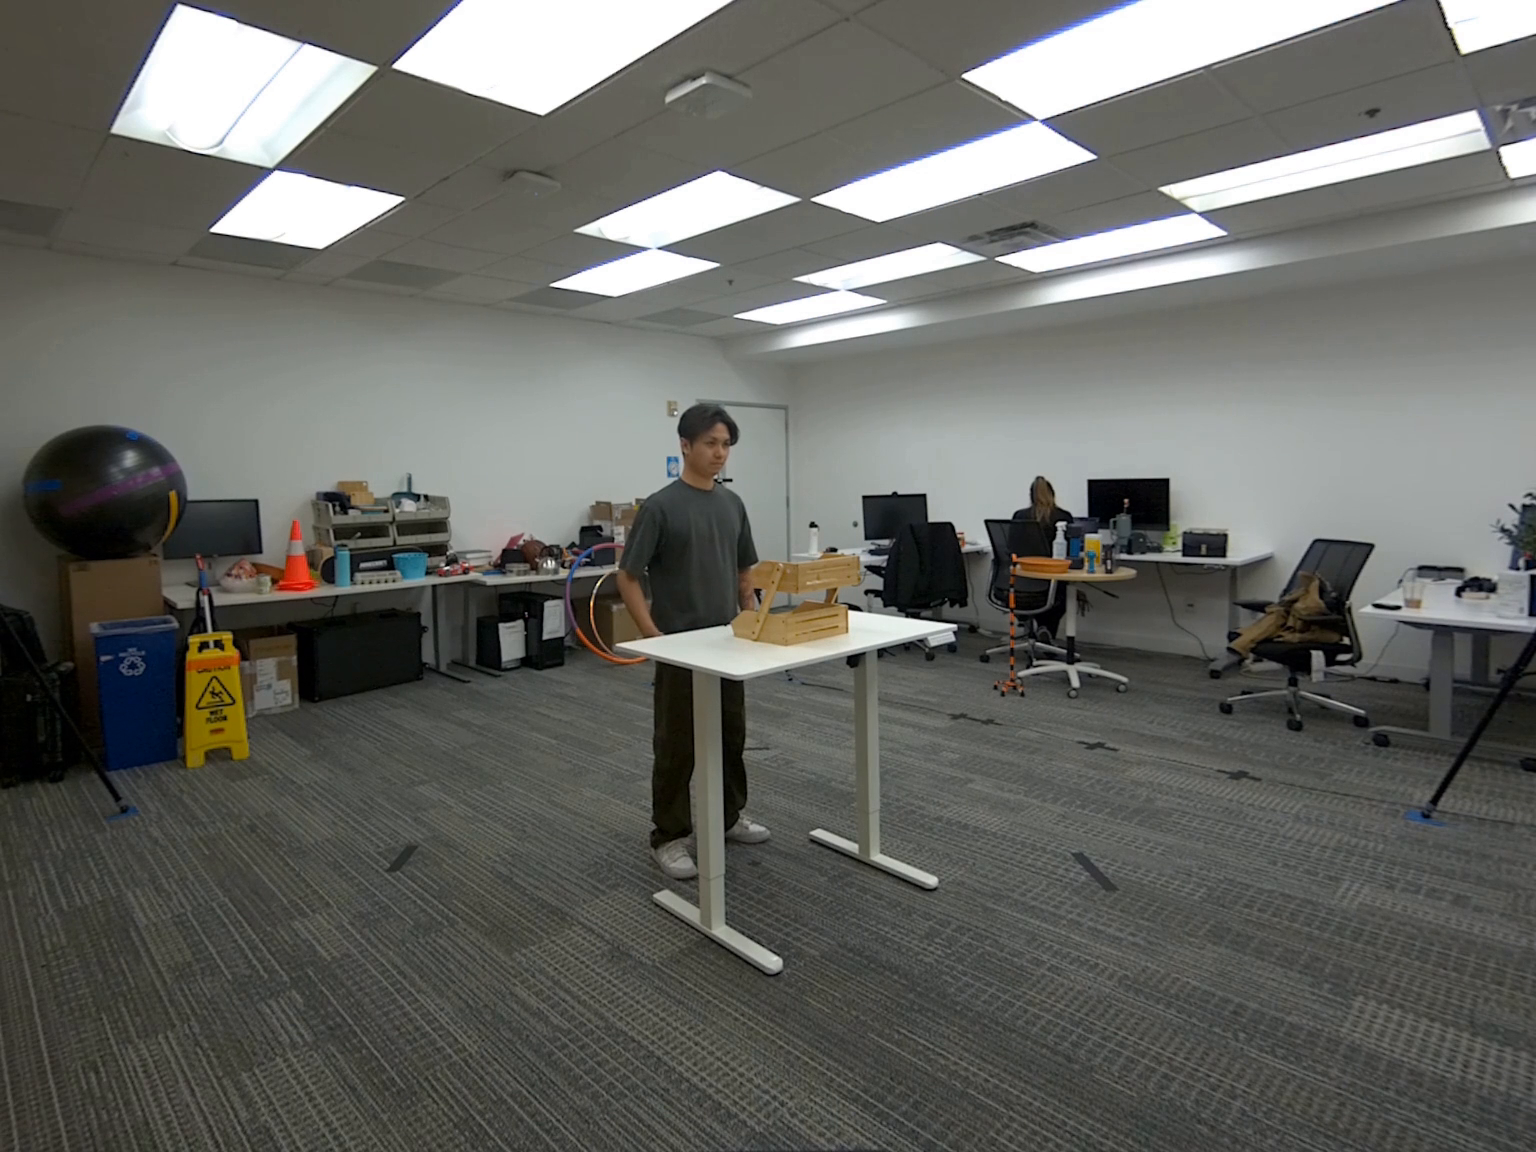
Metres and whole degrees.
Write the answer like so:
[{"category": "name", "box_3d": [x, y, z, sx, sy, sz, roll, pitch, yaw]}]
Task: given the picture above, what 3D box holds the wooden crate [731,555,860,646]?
[{"category": "wooden crate", "box_3d": [0.093, 0.062, 2.788, 0.316, 0.272, 0.311, -7, 8, -43]}]
